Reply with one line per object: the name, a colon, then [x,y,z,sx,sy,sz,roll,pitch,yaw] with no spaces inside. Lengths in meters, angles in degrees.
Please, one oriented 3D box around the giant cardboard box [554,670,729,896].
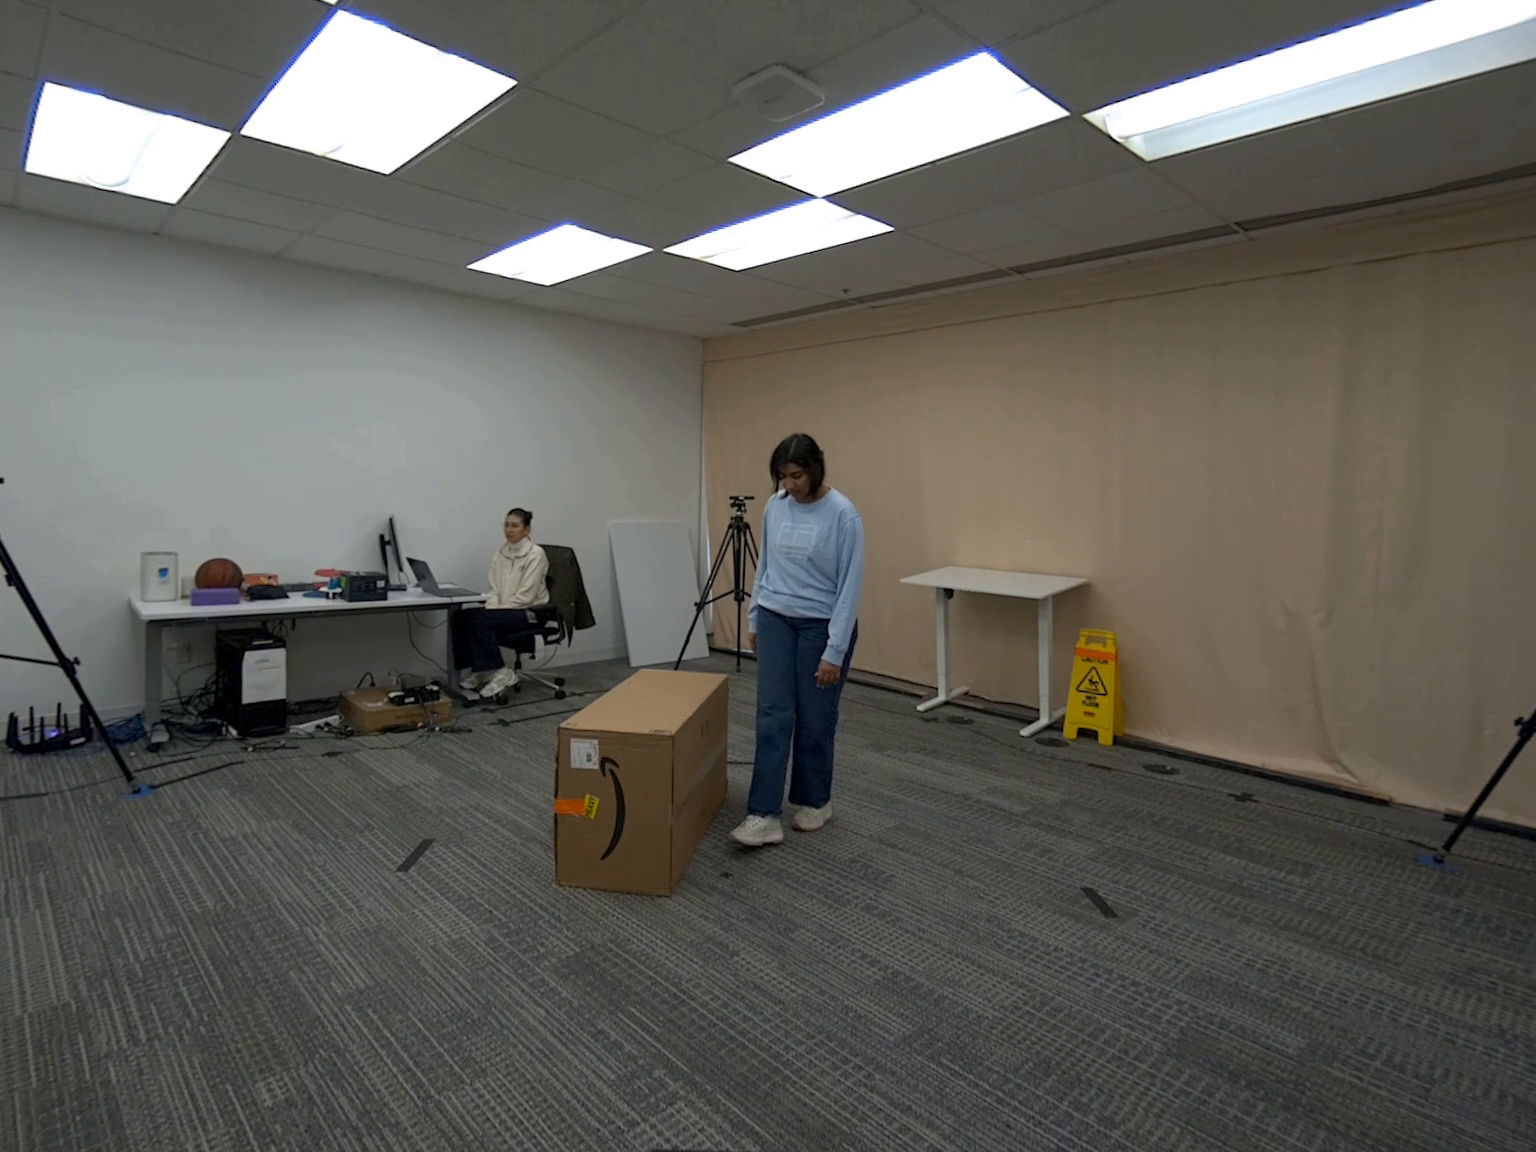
giant cardboard box: [-0.478,0.775,3.441,0.429,0.576,1.021,1,5,8]
